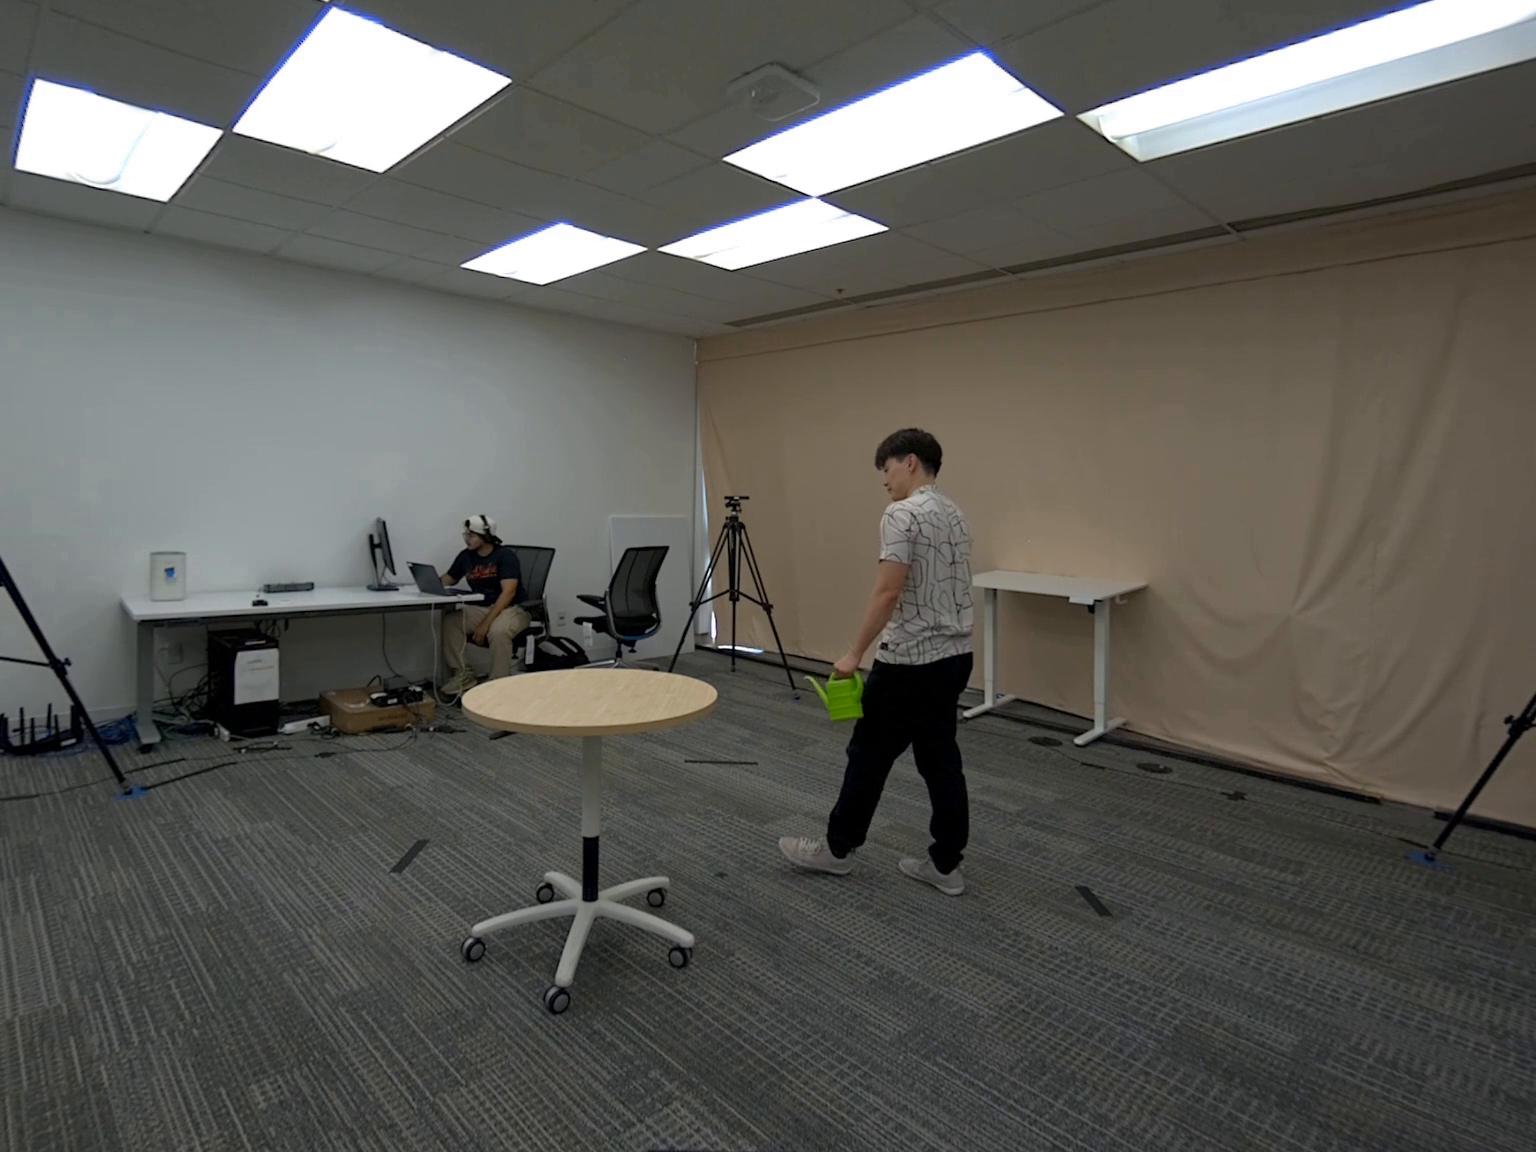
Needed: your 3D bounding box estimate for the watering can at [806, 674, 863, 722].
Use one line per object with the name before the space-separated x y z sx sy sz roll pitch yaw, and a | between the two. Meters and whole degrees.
watering can | 0.241 0.424 2.972 0.096 0.178 0.280 -2 -12 -26
